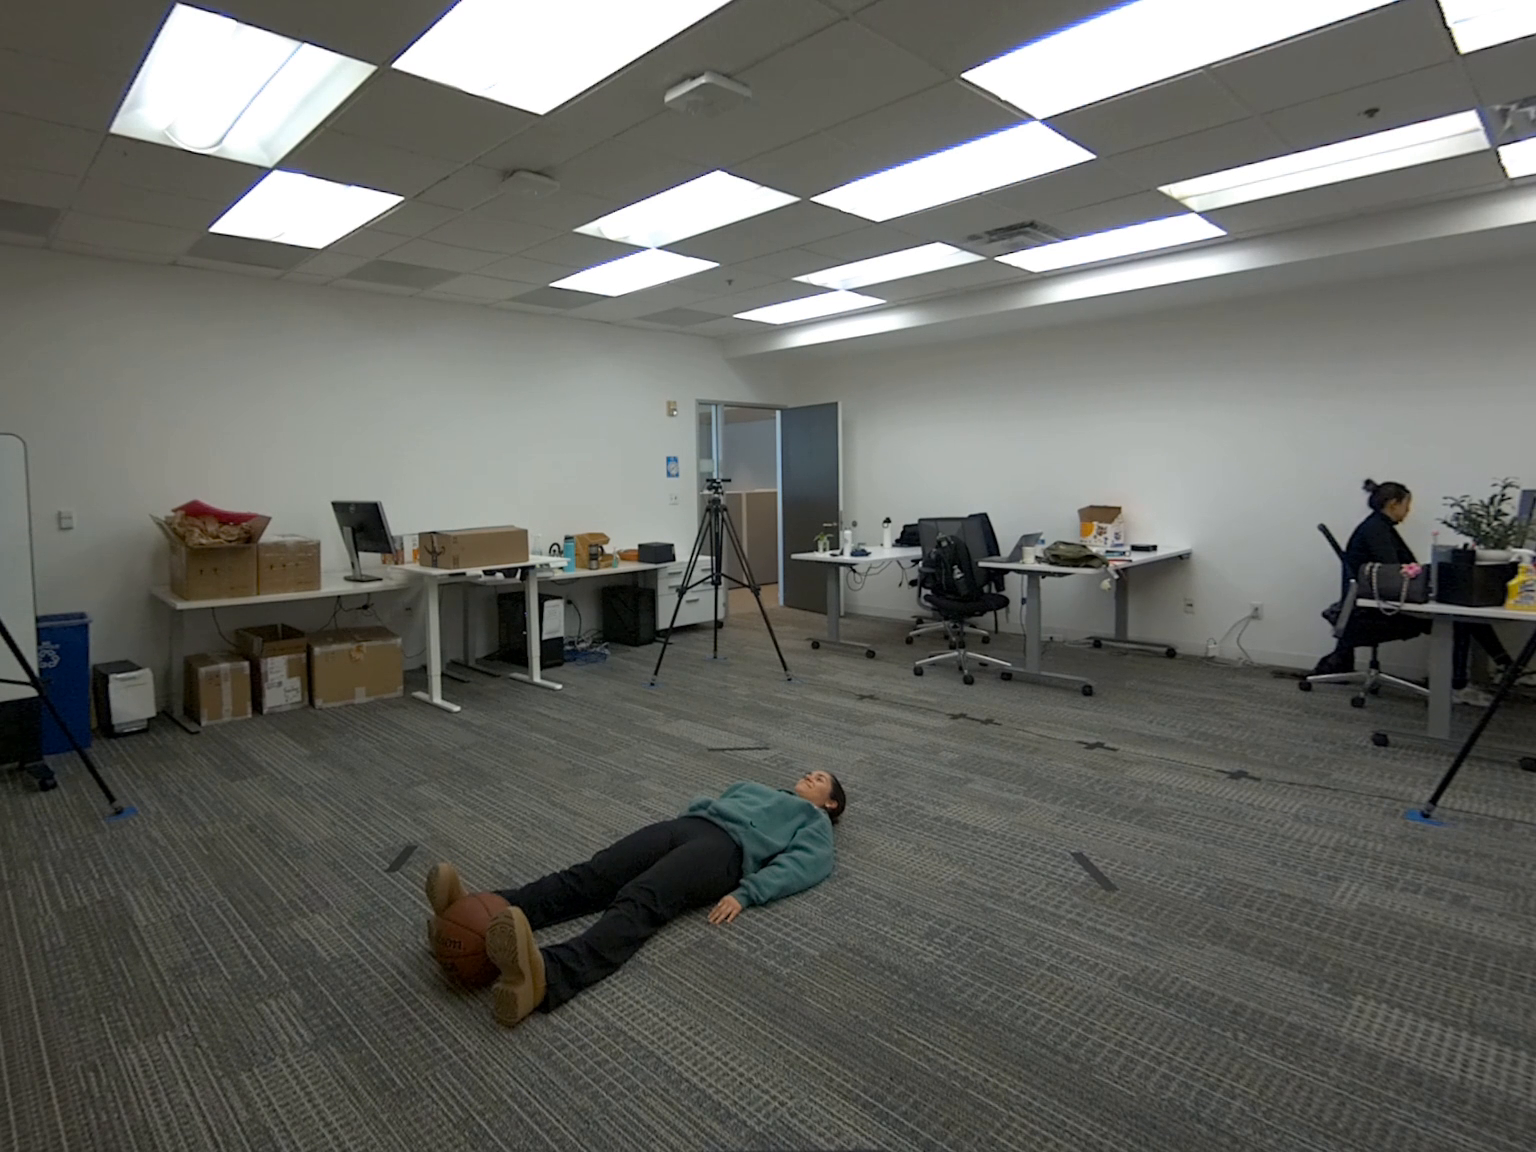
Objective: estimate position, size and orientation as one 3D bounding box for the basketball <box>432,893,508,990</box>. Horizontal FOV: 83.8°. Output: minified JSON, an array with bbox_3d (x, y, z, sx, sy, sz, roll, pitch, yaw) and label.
[{"bbox_3d":[-0.808,1.019,2.422,0.236,0.235,0.237,-1,4,-2],"label":"basketball"}]
